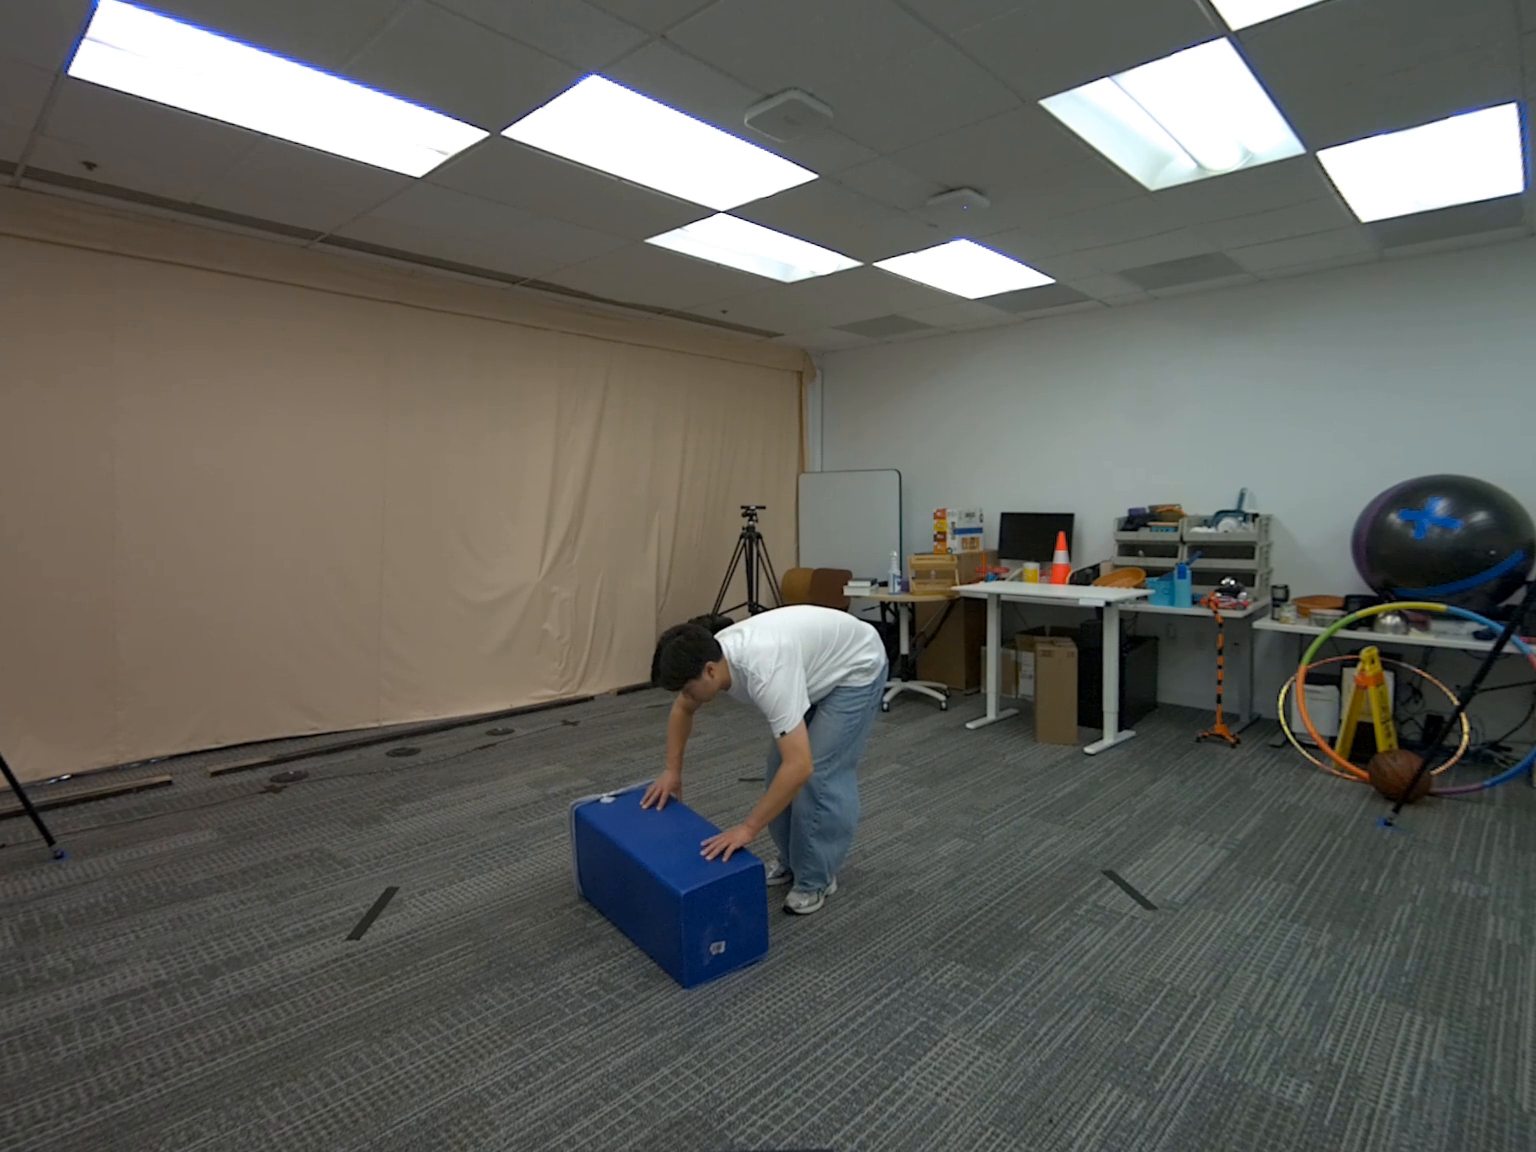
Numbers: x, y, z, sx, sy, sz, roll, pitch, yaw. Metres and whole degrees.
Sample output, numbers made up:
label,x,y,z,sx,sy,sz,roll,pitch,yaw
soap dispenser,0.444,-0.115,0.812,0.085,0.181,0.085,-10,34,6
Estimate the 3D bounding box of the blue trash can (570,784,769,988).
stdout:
label,x,y,z,sx,sy,sz,roll,pitch,yaw
blue trash can,-0.334,0.993,2.776,0.364,0.376,0.737,-8,11,-35
